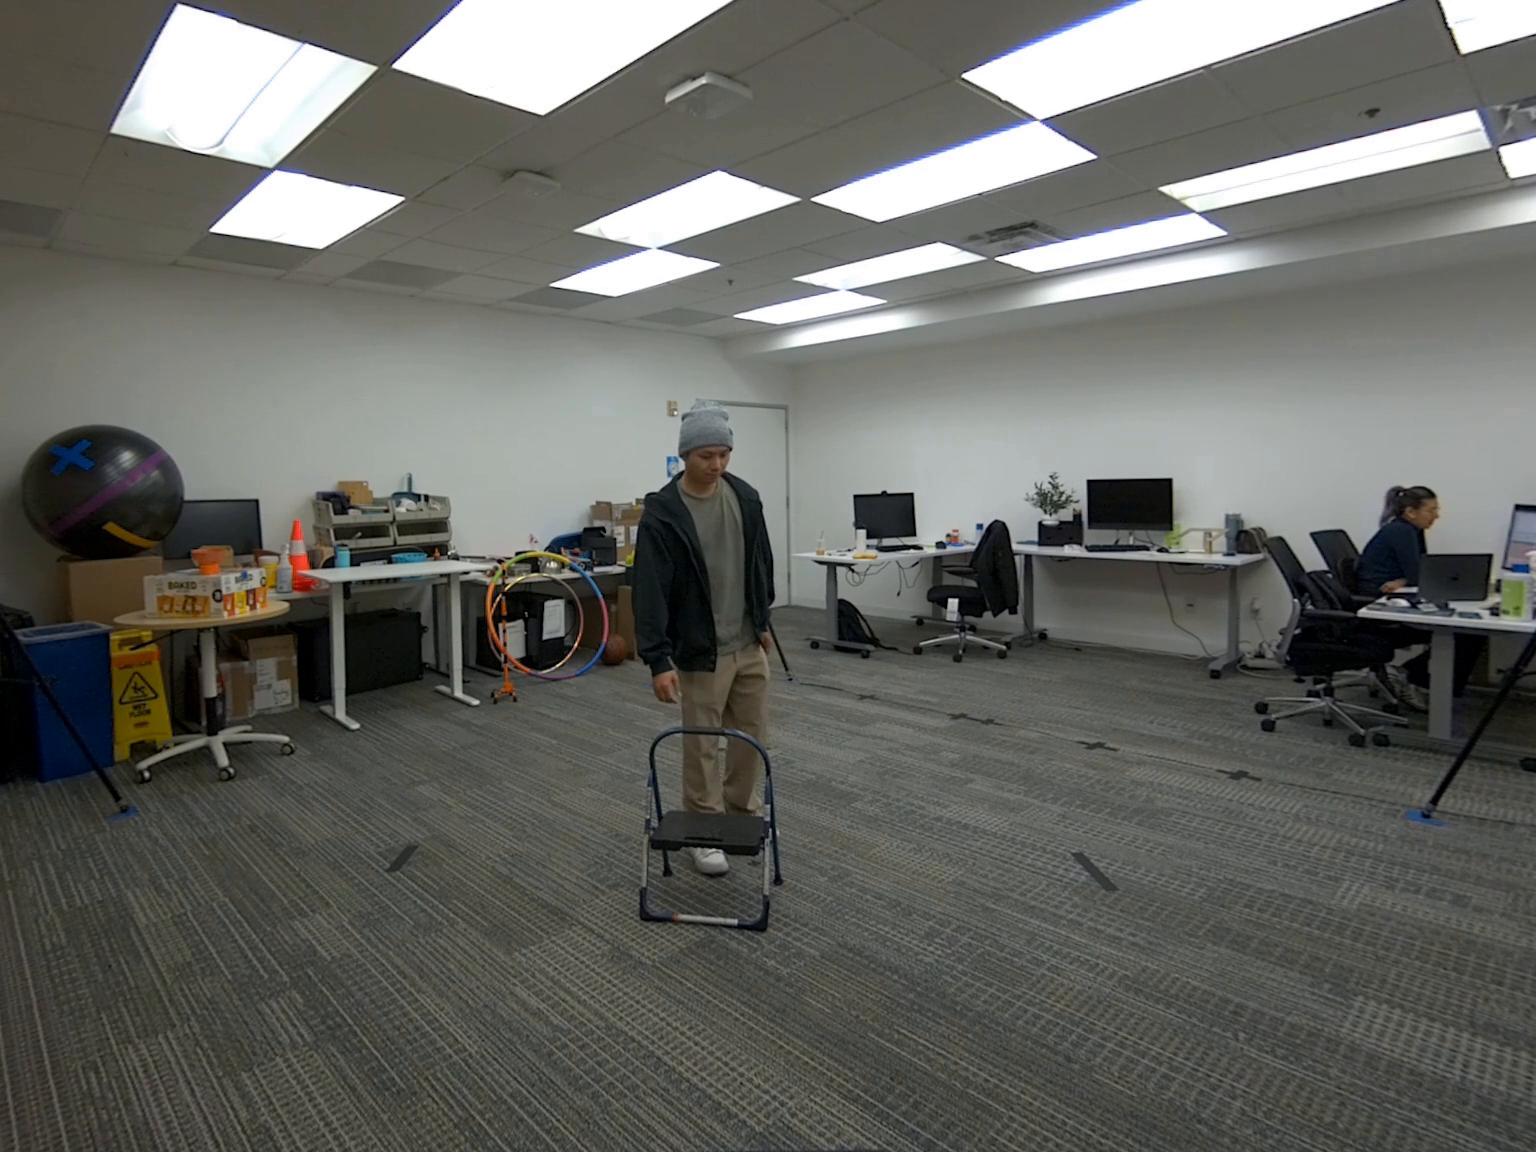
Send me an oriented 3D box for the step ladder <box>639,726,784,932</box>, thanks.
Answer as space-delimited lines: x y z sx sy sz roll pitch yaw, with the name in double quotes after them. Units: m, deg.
-0.189 0.782 2.823 0.435 0.604 0.347 0 4 10 "step ladder"
